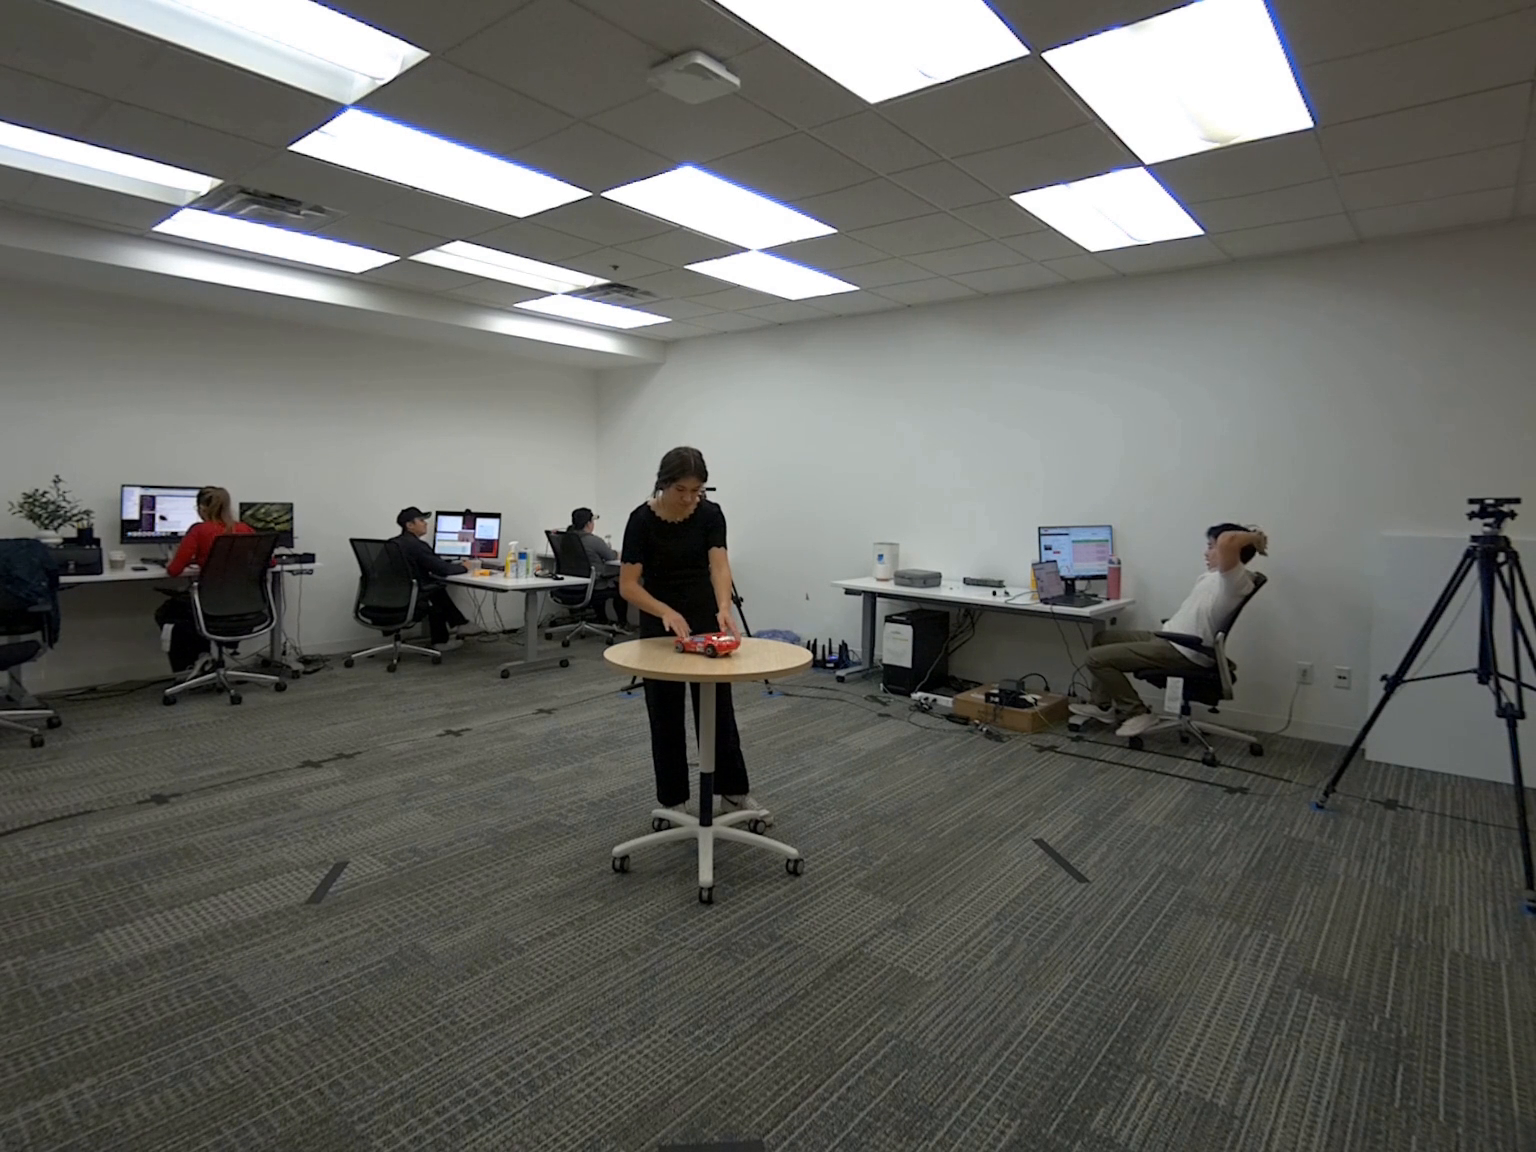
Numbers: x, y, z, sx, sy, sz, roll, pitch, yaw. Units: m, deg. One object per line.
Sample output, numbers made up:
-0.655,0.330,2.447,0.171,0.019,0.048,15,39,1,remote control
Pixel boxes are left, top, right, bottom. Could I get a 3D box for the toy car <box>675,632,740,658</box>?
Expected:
-0.233,0.249,3.099,0.261,0.083,0.127,-9,-2,34,toy car
